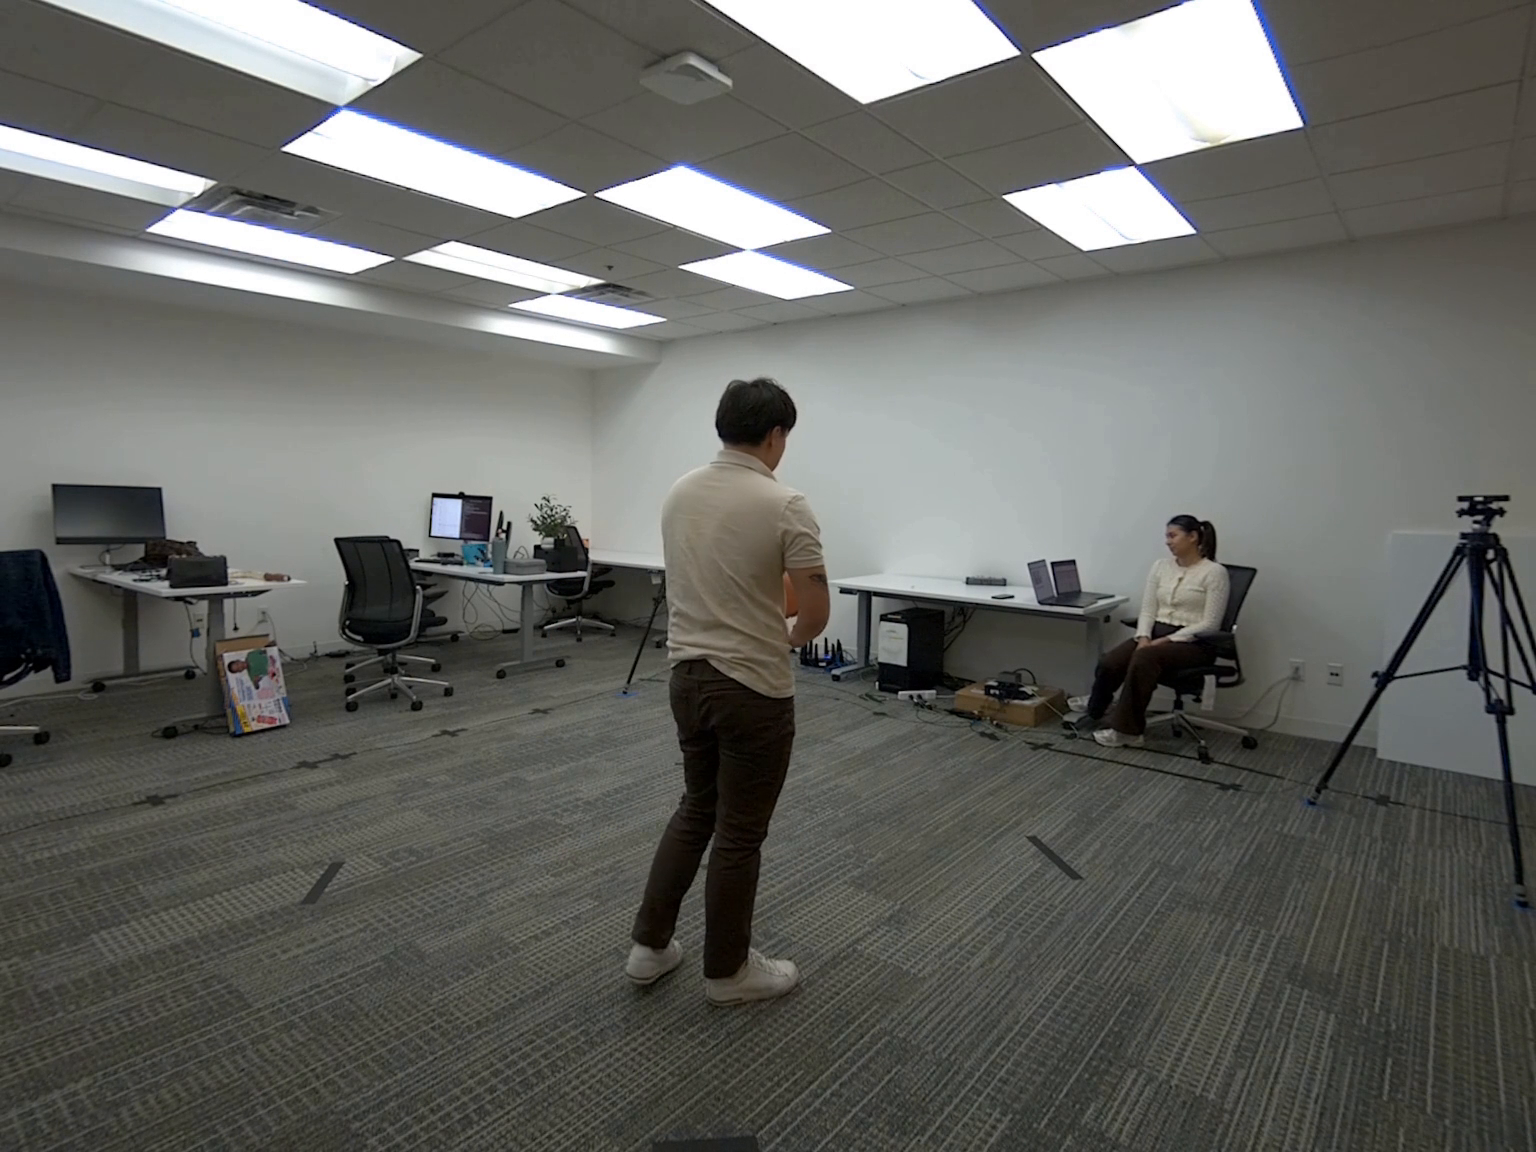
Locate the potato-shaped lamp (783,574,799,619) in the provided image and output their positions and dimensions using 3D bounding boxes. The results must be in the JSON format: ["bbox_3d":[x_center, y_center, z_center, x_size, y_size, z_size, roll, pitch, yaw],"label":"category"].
[{"bbox_3d":[0.038,0.019,2.500,0.169,0.166,0.198,-2,34,37],"label":"potato-shaped lamp"}]
